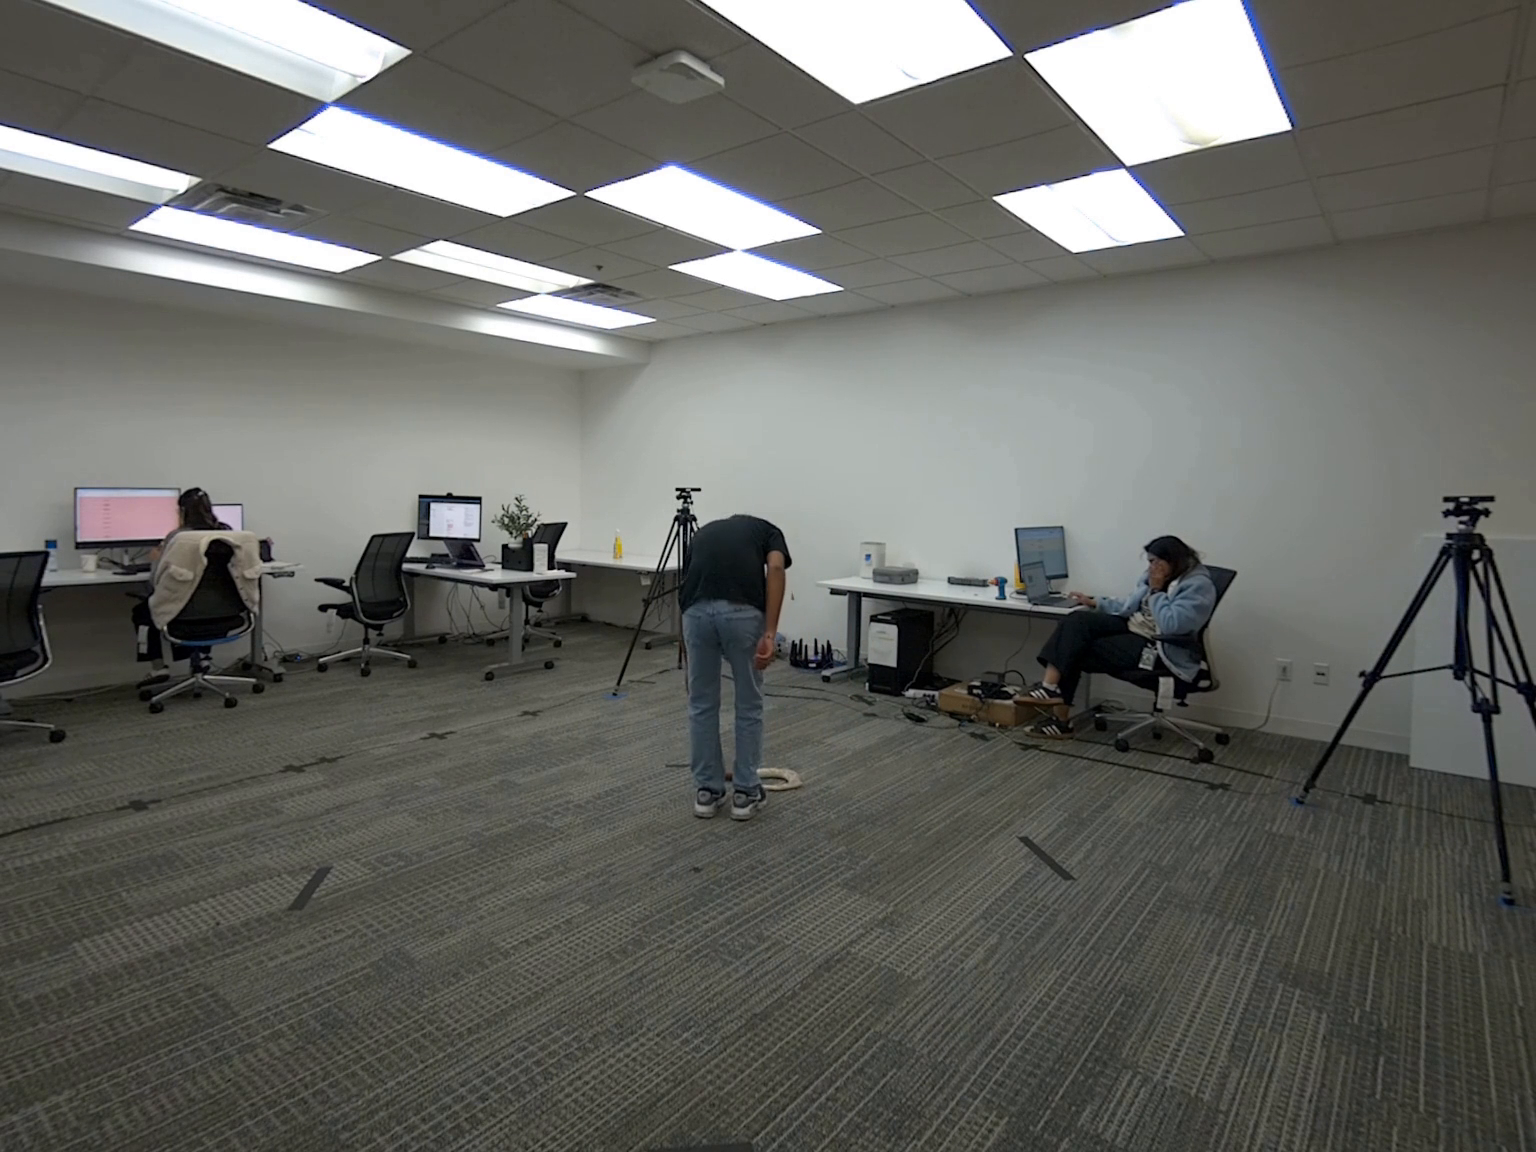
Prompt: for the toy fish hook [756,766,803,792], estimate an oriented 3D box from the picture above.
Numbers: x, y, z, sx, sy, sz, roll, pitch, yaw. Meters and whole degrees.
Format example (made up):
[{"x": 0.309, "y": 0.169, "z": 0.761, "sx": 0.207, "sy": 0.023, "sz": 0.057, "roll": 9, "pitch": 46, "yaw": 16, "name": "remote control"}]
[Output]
[{"x": -0.102, "y": 0.957, "z": 4.032, "sx": 0.505, "sy": 0.048, "sz": 0.226, "roll": 0, "pitch": 5, "yaw": -4, "name": "toy fish hook"}]
